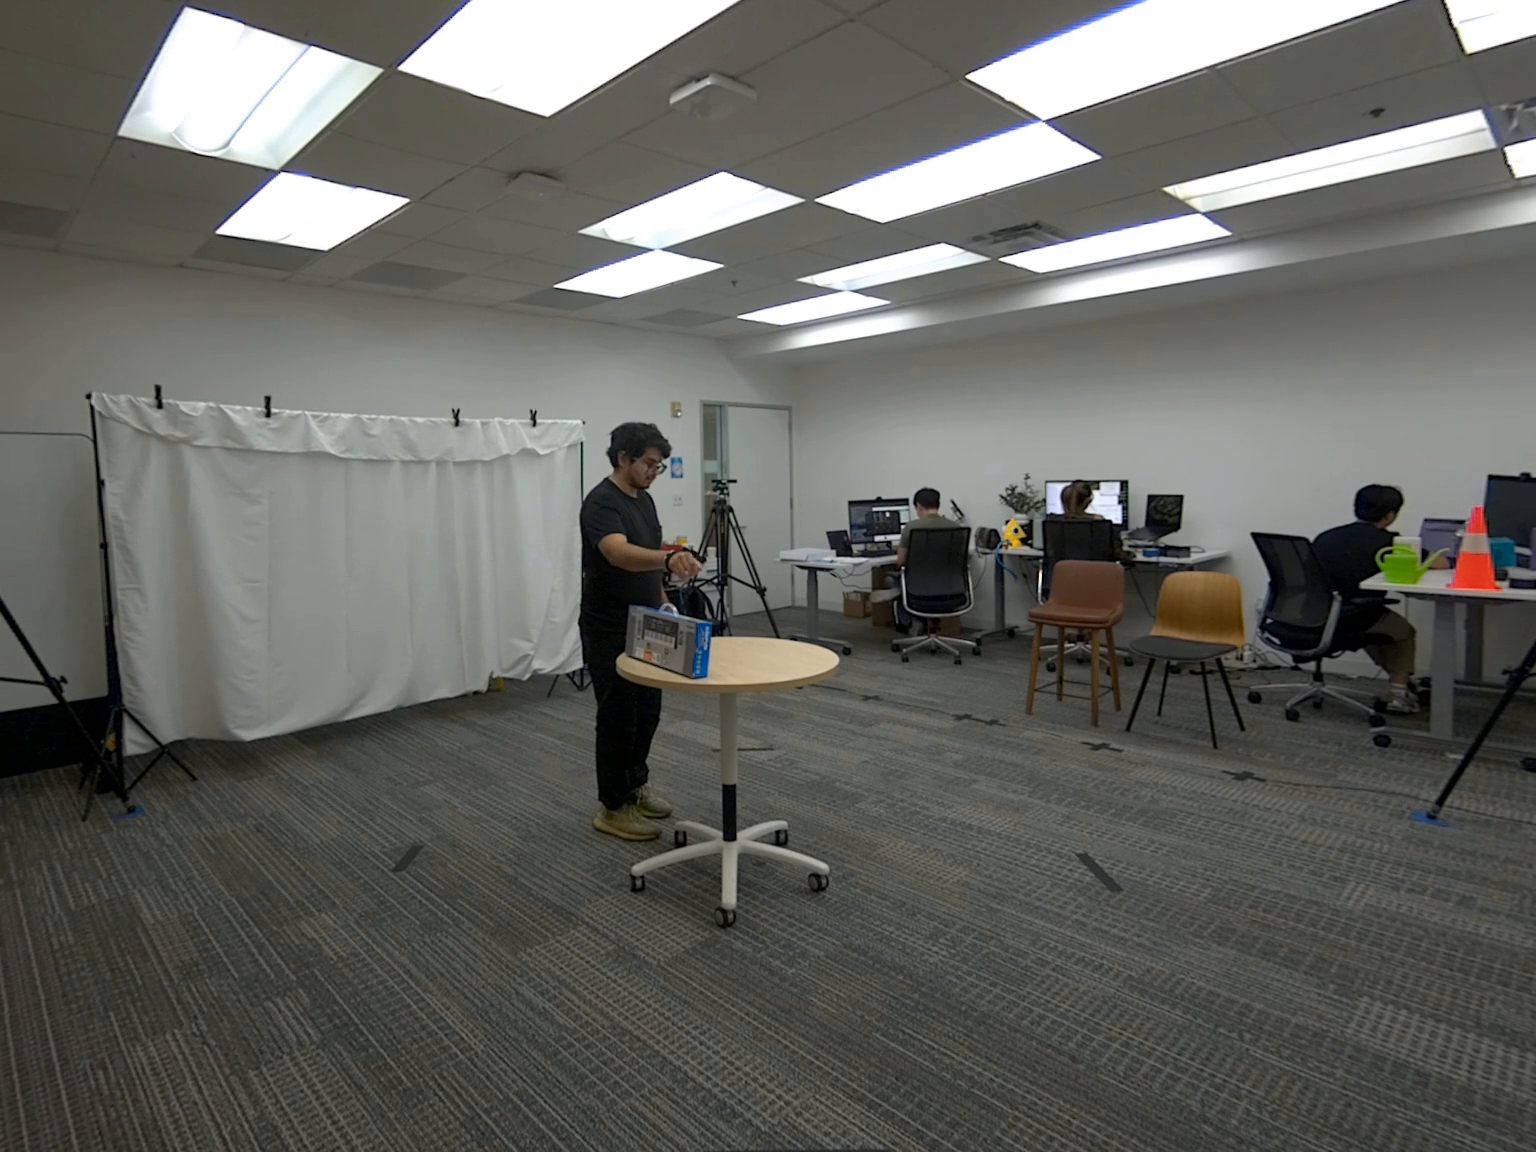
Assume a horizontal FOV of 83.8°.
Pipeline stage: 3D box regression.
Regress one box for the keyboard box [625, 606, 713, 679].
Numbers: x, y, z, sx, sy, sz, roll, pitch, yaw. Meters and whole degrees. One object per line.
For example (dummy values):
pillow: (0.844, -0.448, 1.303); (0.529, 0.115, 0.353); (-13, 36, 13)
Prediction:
keyboard box: (-0.335, 0.212, 2.825); (0.057, 0.176, 0.450); (4, 2, -37)
